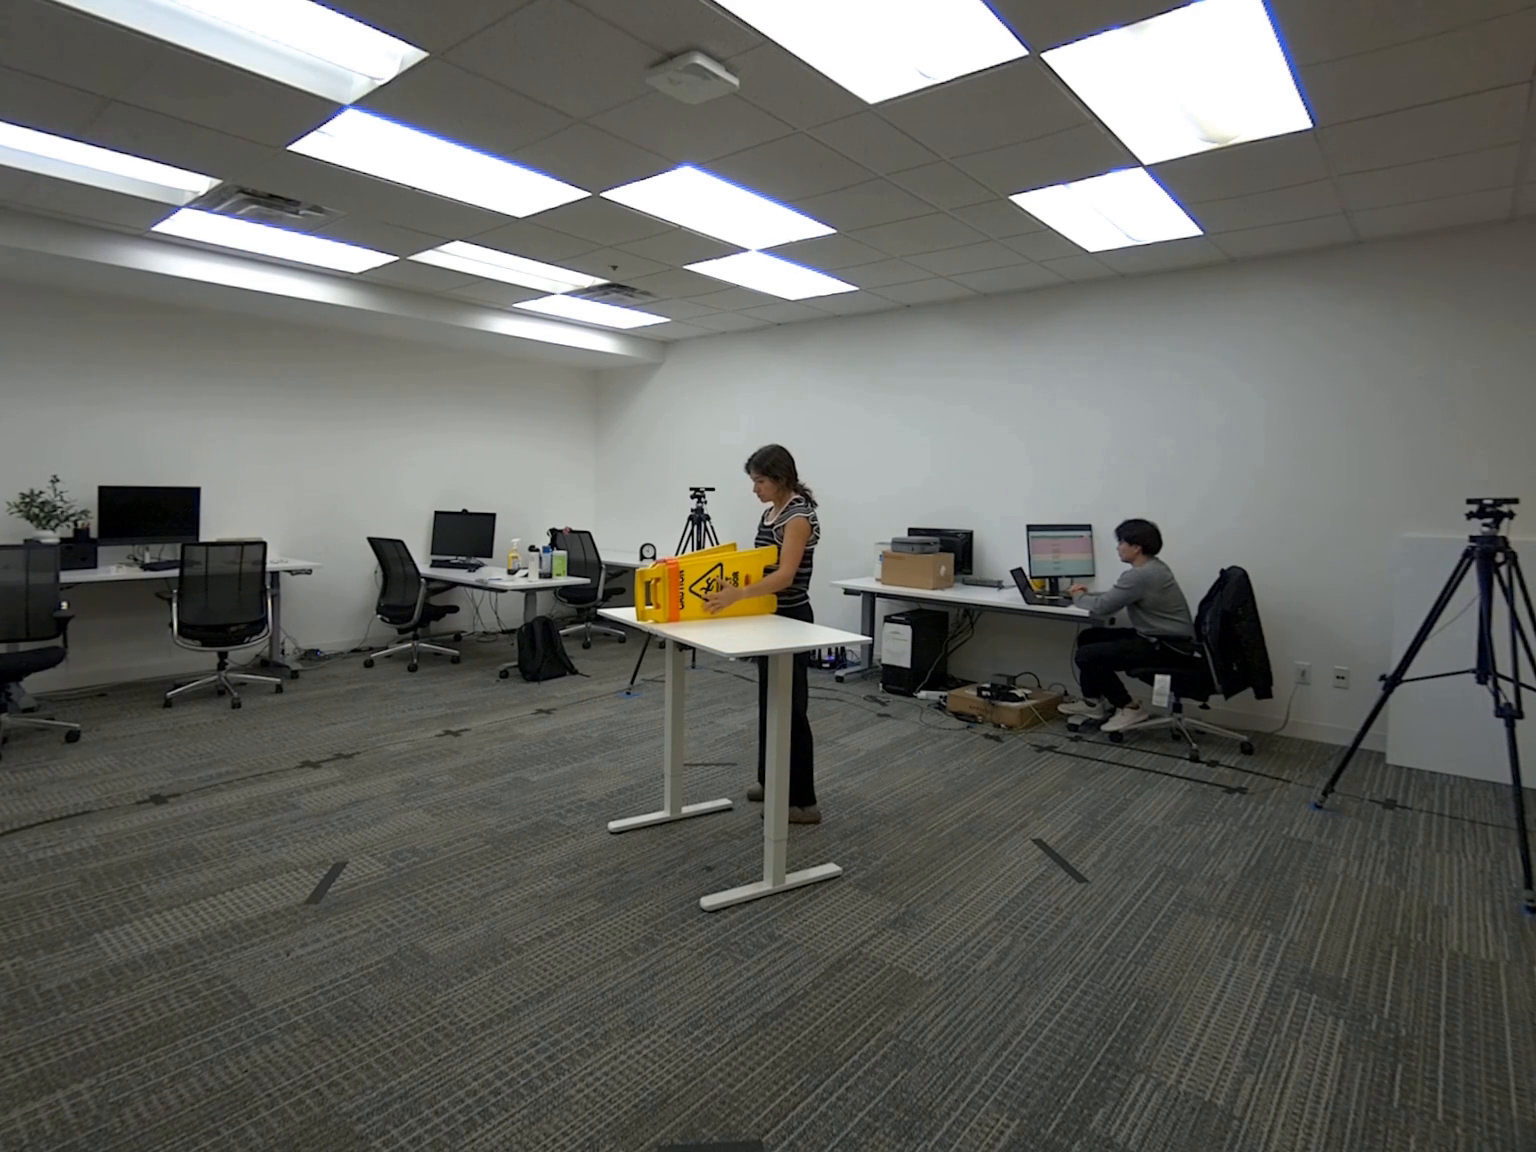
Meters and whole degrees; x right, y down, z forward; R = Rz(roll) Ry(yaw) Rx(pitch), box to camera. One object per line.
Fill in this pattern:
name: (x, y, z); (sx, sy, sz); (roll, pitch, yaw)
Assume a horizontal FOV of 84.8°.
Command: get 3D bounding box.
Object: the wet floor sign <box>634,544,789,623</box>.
wet floor sign: (-0.276, 0.037, 3.339); (0.299, 0.281, 0.628); (4, 9, 43)
